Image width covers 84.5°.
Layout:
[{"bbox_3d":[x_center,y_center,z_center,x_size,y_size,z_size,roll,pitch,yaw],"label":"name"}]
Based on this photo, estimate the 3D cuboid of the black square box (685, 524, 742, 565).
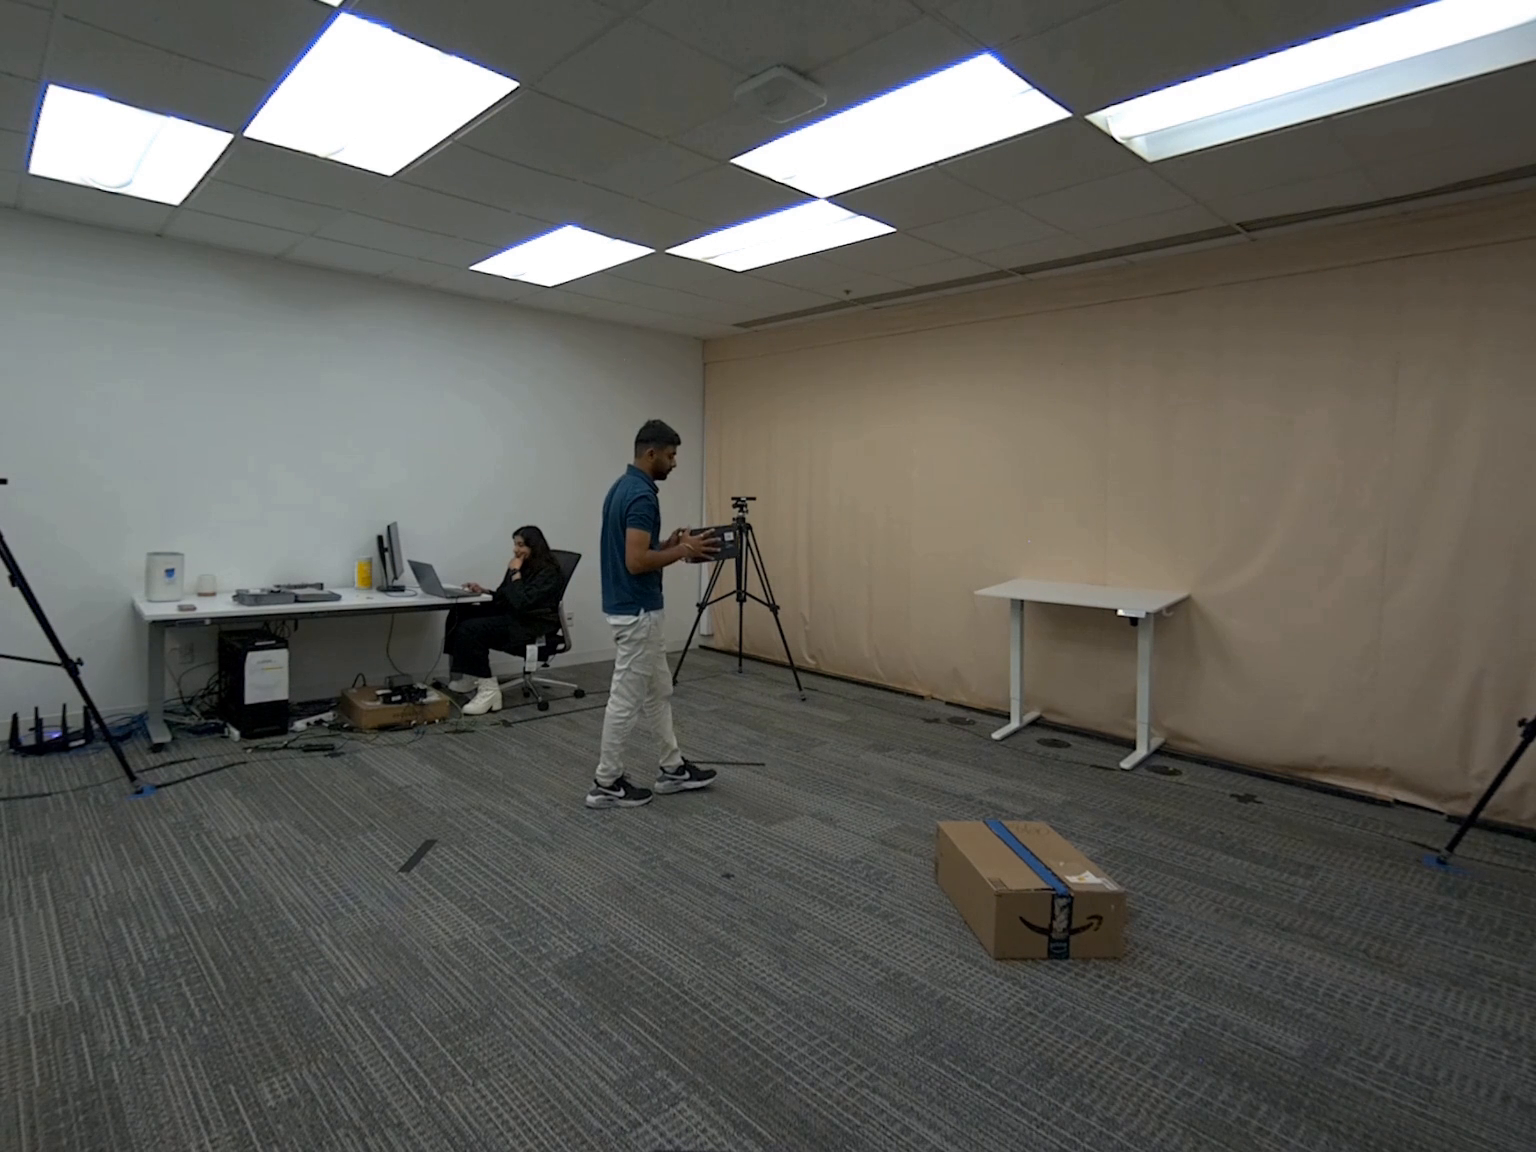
[{"bbox_3d":[-0.264,-0.149,3.900,0.215,0.155,0.231,-7,3,-15],"label":"black square box"}]
